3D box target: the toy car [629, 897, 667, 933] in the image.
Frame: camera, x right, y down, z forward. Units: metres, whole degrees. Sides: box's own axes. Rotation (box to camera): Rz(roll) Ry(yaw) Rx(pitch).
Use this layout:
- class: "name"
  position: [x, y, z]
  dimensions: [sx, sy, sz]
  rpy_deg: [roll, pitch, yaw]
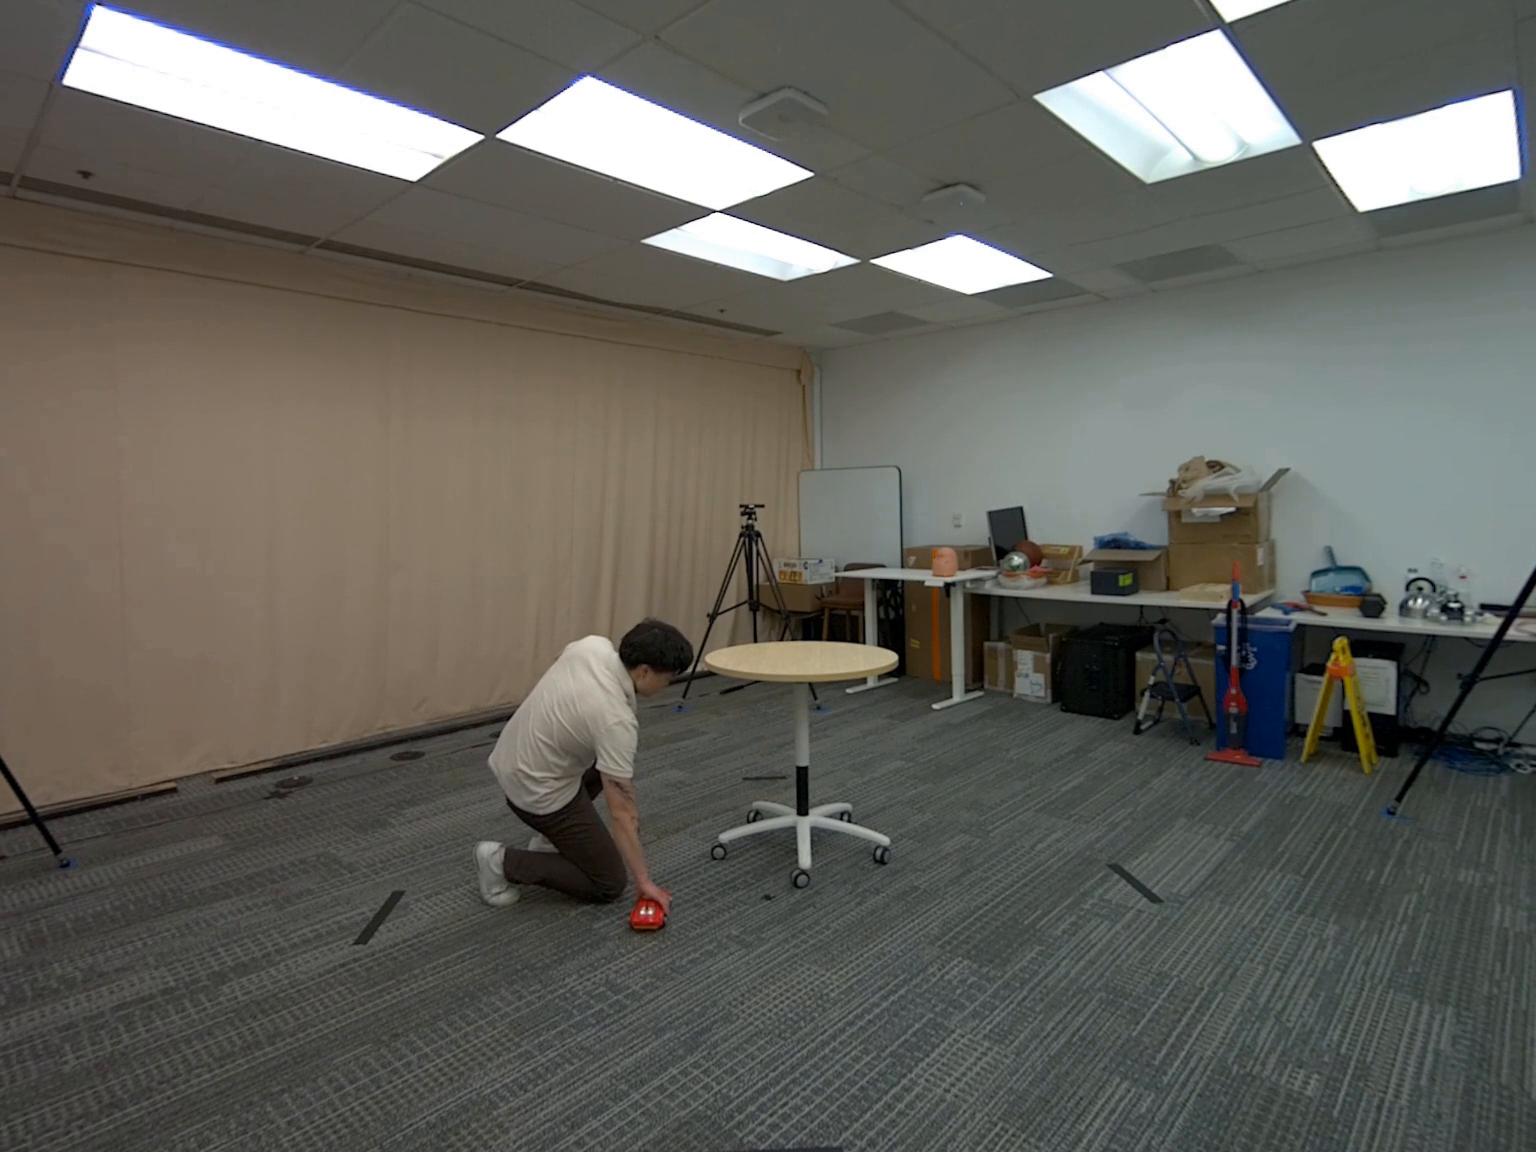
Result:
- class: "toy car"
  position: [-0.404, 1.135, 2.827]
  dimensions: [0.130, 0.083, 0.253]
  rpy_deg: [-1, -7, 0]
